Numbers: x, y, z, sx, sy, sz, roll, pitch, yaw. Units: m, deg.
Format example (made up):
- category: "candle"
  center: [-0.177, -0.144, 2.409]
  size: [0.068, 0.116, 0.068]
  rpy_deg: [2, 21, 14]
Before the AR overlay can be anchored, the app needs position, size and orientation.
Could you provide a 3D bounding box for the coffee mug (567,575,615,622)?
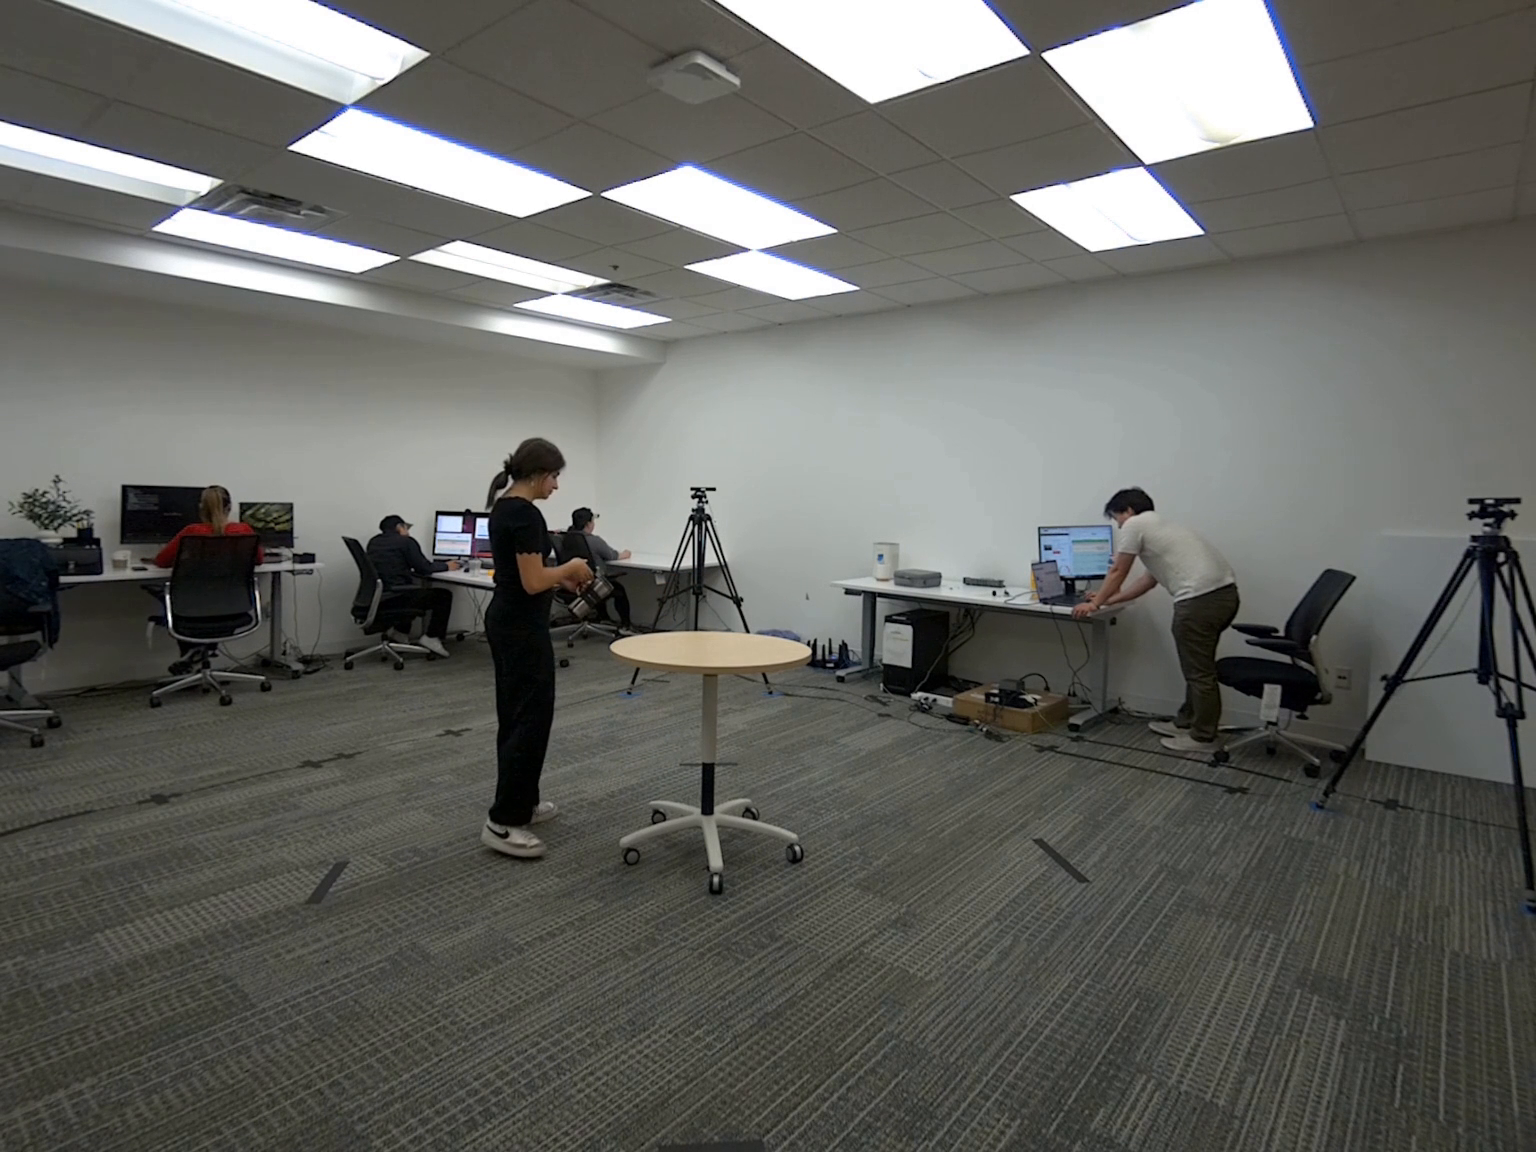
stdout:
- category: "coffee mug"
  center: [-0.780, 0.097, 3.555]
  size: [0.127, 0.203, 0.084]
  rpy_deg: [42, -7, 32]
